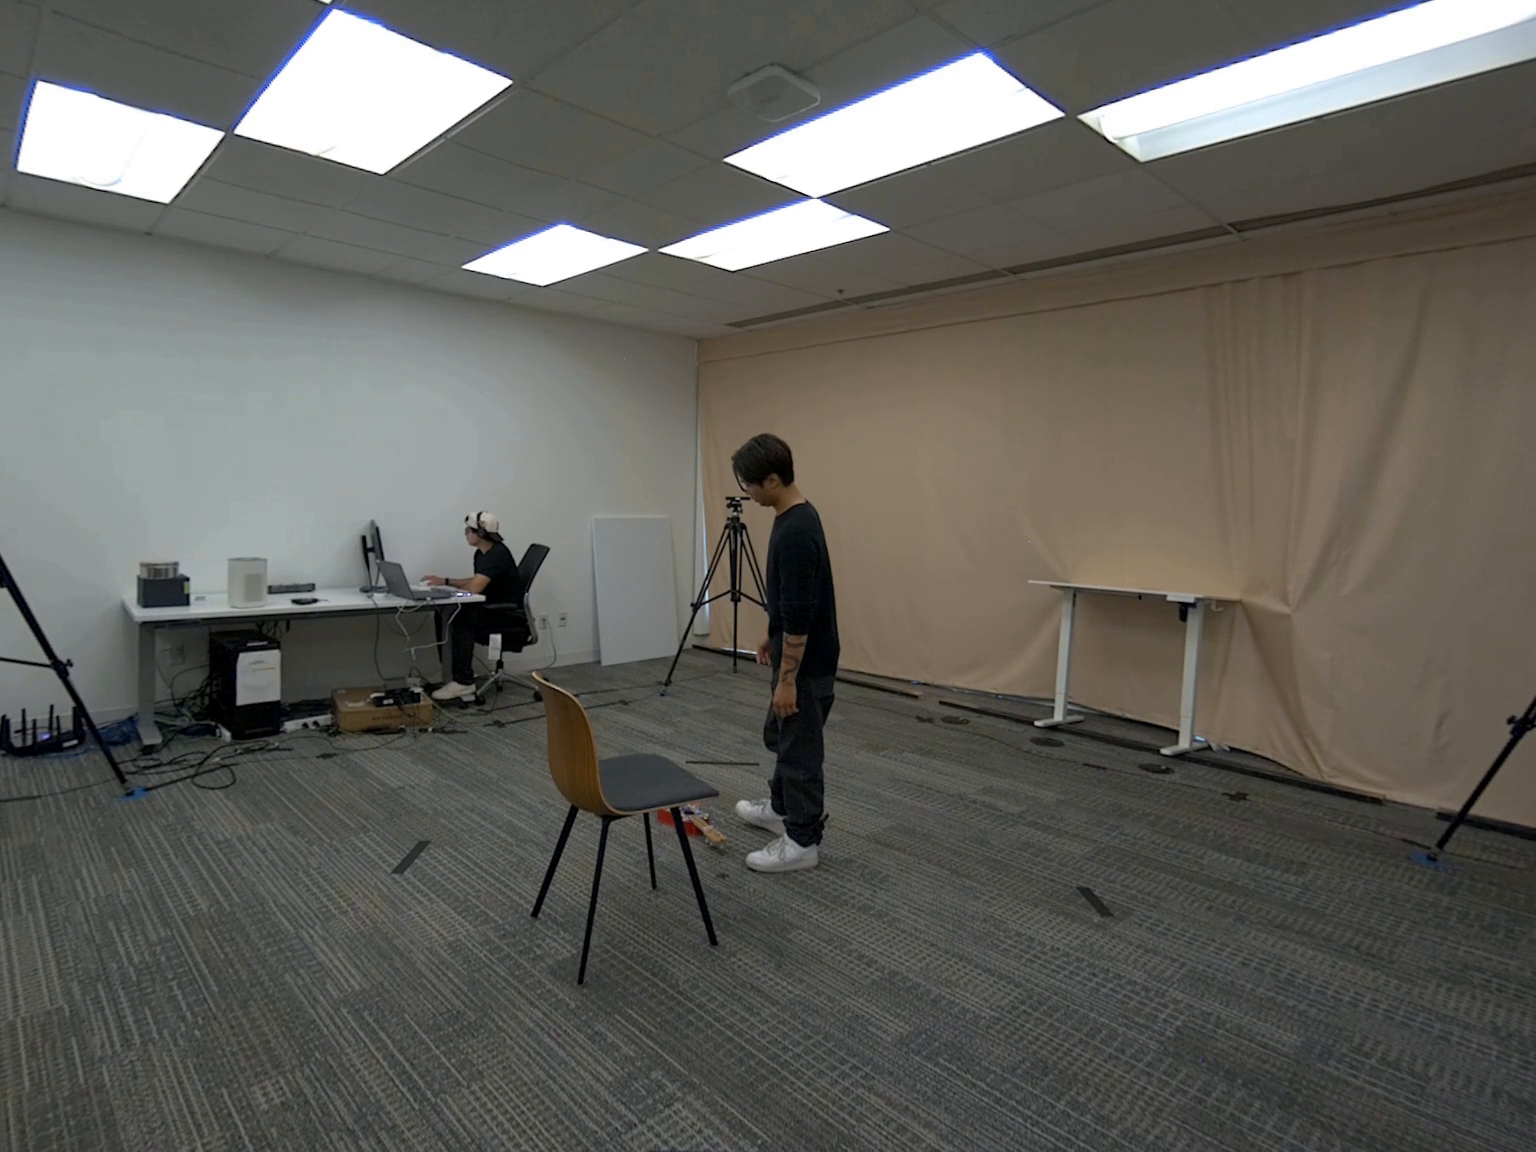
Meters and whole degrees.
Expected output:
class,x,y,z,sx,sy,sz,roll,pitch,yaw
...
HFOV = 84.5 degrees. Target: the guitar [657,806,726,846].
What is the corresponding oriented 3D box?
class,x,y,z,sx,sy,sz,roll,pitch,yaw
guitar,-0.329,1.031,3.497,0.190,0.070,0.506,0,5,-19
